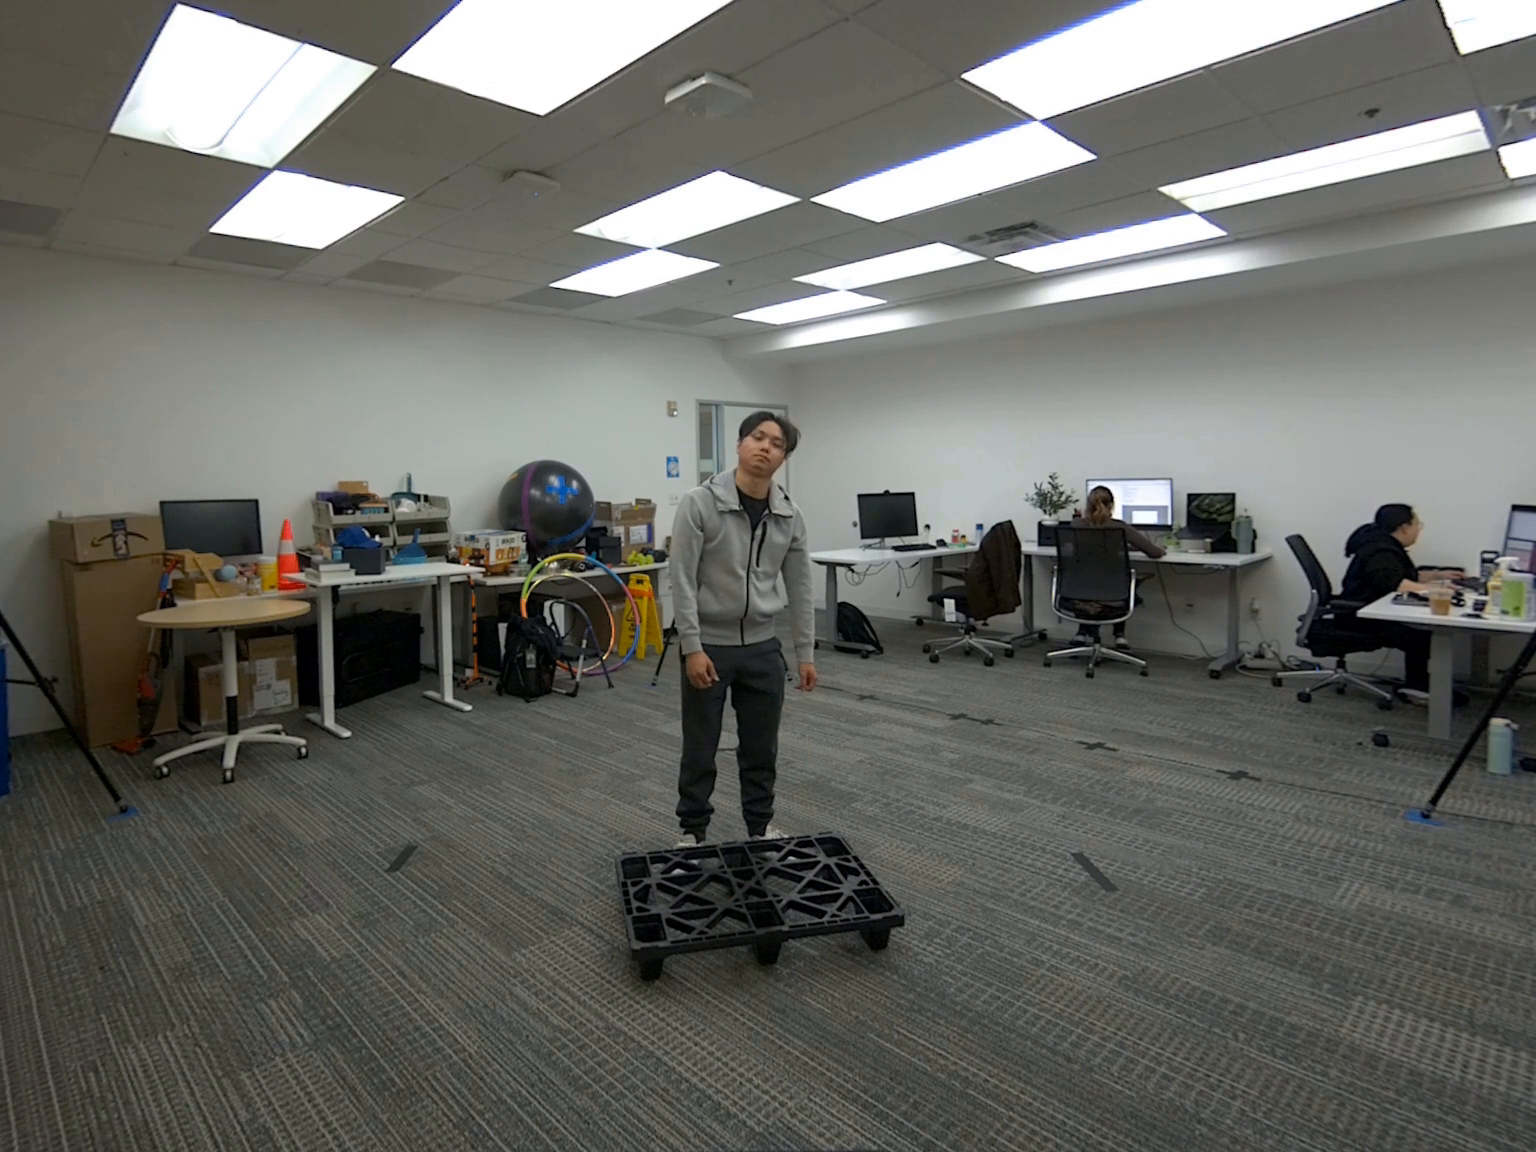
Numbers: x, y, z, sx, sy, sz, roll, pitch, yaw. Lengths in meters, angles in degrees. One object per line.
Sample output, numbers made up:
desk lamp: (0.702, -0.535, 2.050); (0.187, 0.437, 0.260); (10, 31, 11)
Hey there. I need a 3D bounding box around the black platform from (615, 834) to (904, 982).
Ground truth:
black platform: (-0.054, 1.027, 2.682); (0.797, 0.142, 0.615); (-3, 7, -12)
